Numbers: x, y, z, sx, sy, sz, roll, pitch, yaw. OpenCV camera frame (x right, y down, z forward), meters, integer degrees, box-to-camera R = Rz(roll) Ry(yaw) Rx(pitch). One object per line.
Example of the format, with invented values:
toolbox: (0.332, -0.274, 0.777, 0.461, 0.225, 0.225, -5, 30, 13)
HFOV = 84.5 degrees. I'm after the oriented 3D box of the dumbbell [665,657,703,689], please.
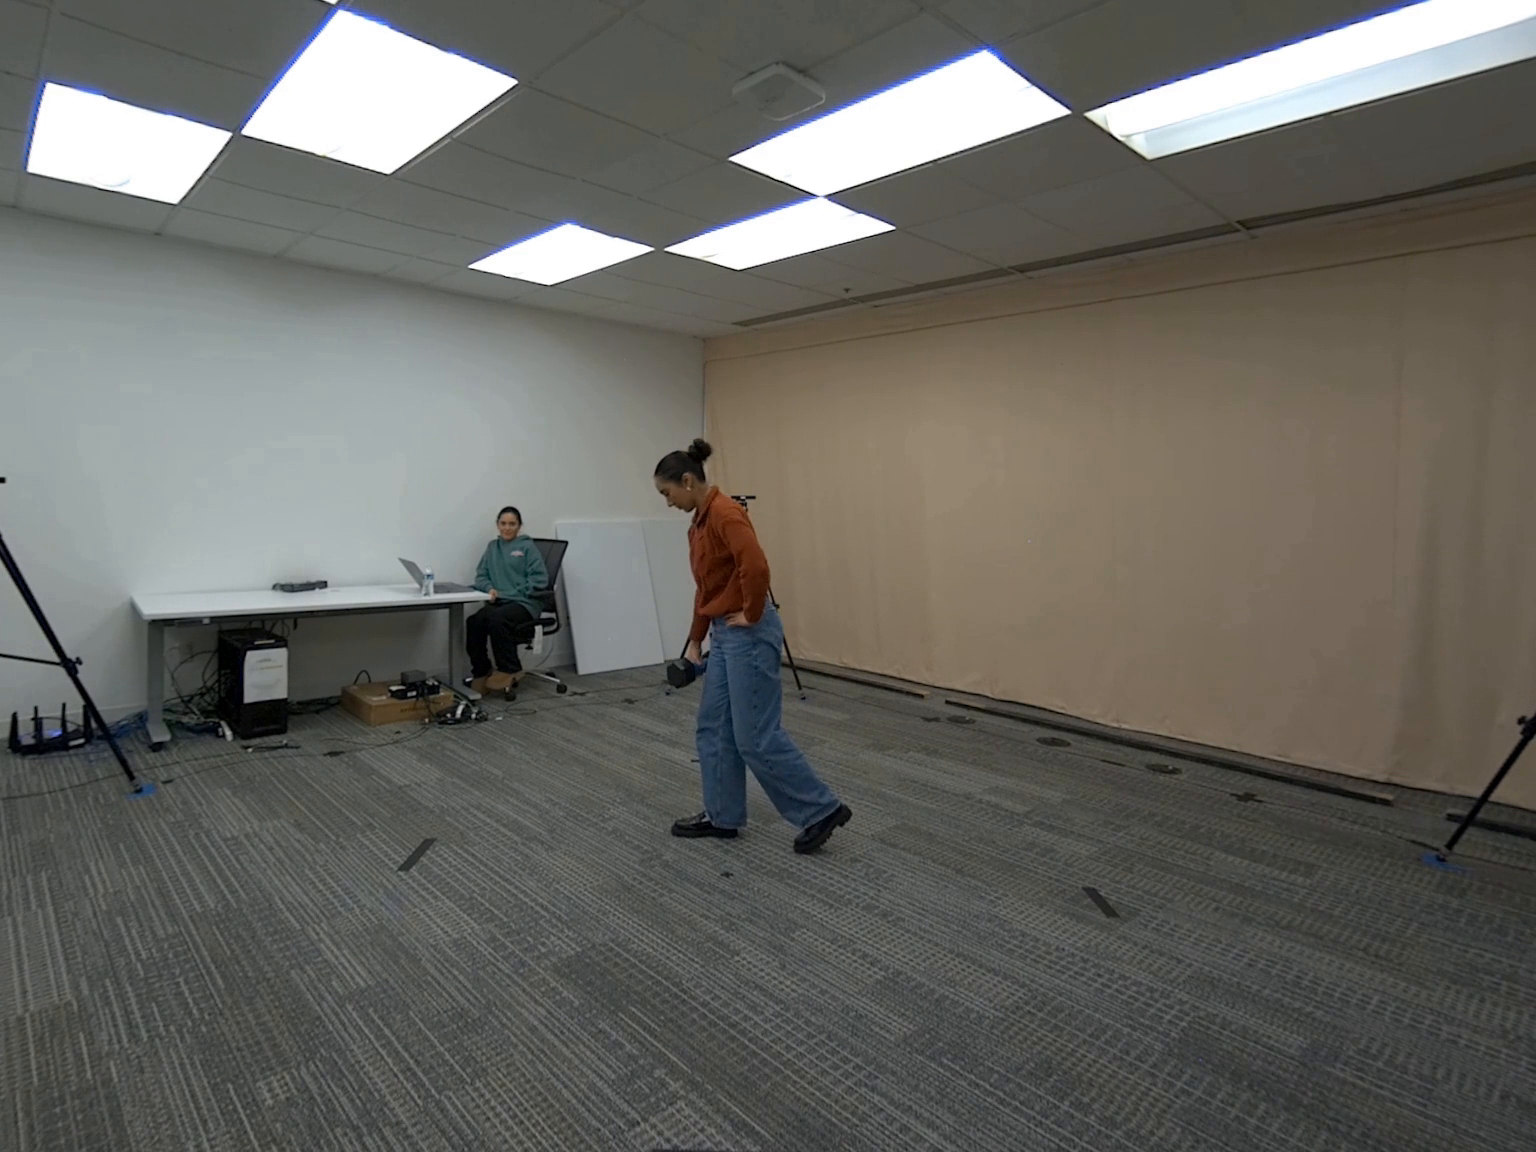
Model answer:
dumbbell: (-0.294, 0.389, 3.541, 0.111, 0.122, 0.288, 1, 7, 42)
